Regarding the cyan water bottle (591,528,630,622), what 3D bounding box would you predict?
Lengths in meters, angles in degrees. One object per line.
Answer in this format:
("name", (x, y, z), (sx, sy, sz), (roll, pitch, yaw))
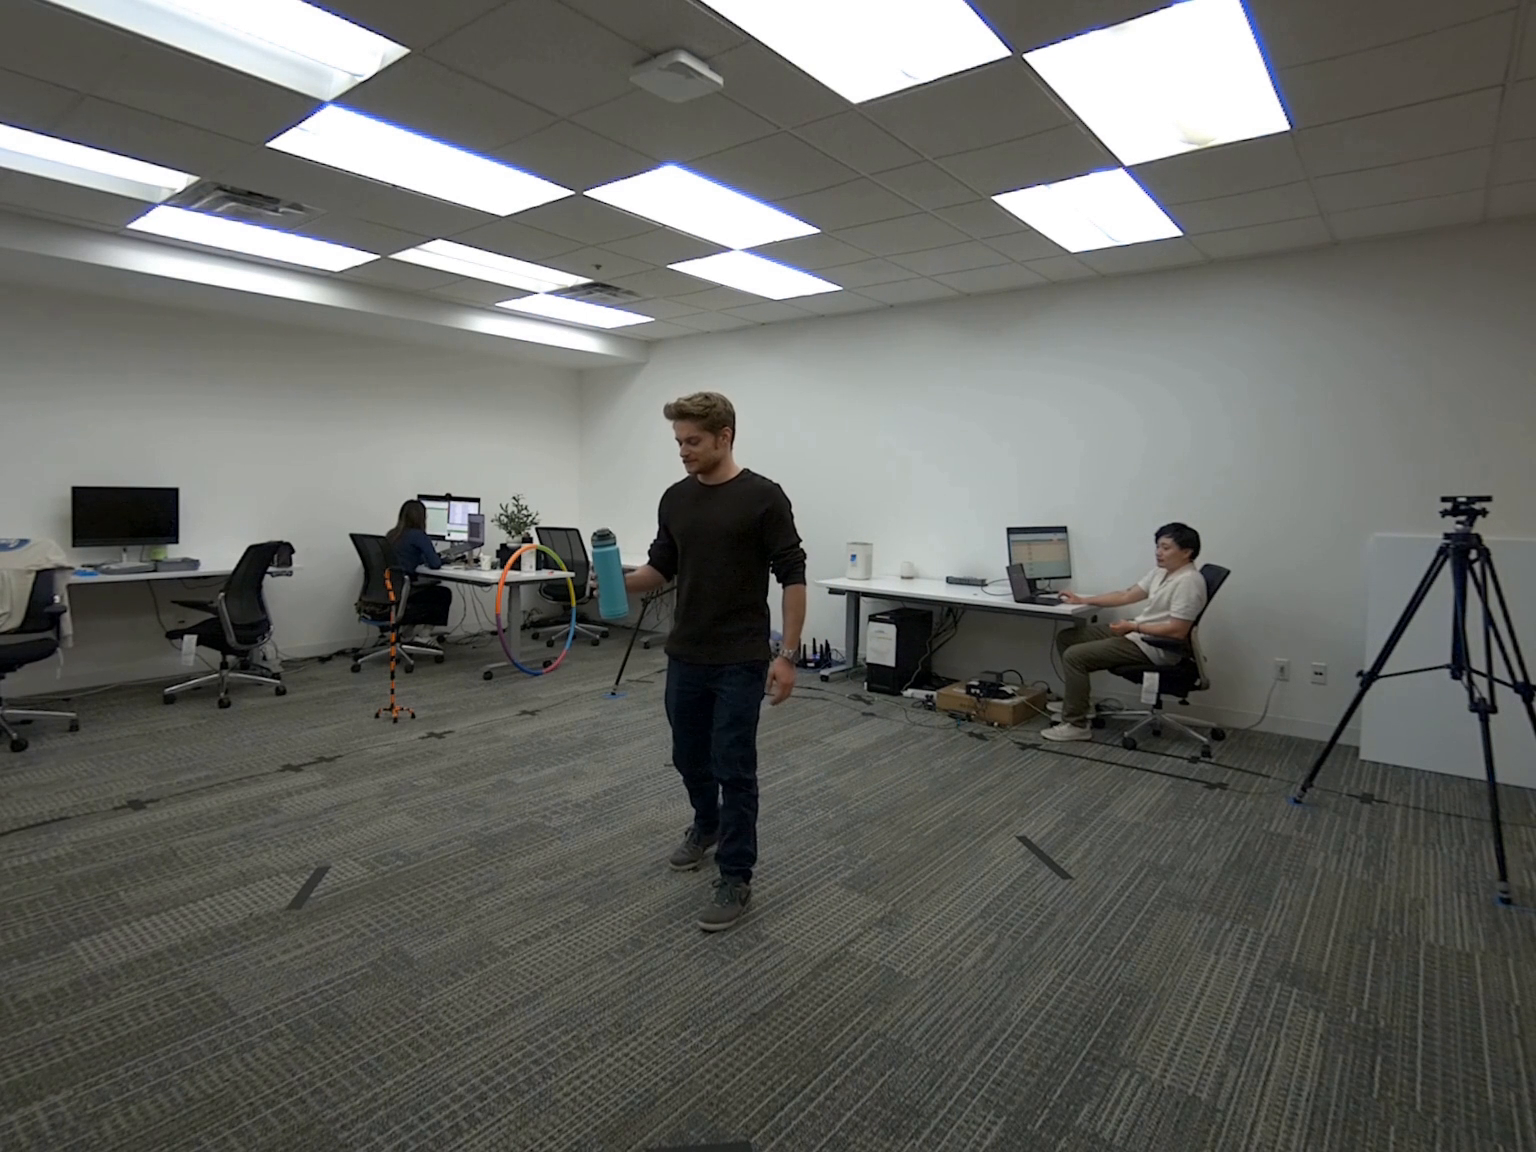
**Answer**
("cyan water bottle", (-0.518, -0.015, 2.708), (0.092, 0.282, 0.093), (-7, 4, -1))
